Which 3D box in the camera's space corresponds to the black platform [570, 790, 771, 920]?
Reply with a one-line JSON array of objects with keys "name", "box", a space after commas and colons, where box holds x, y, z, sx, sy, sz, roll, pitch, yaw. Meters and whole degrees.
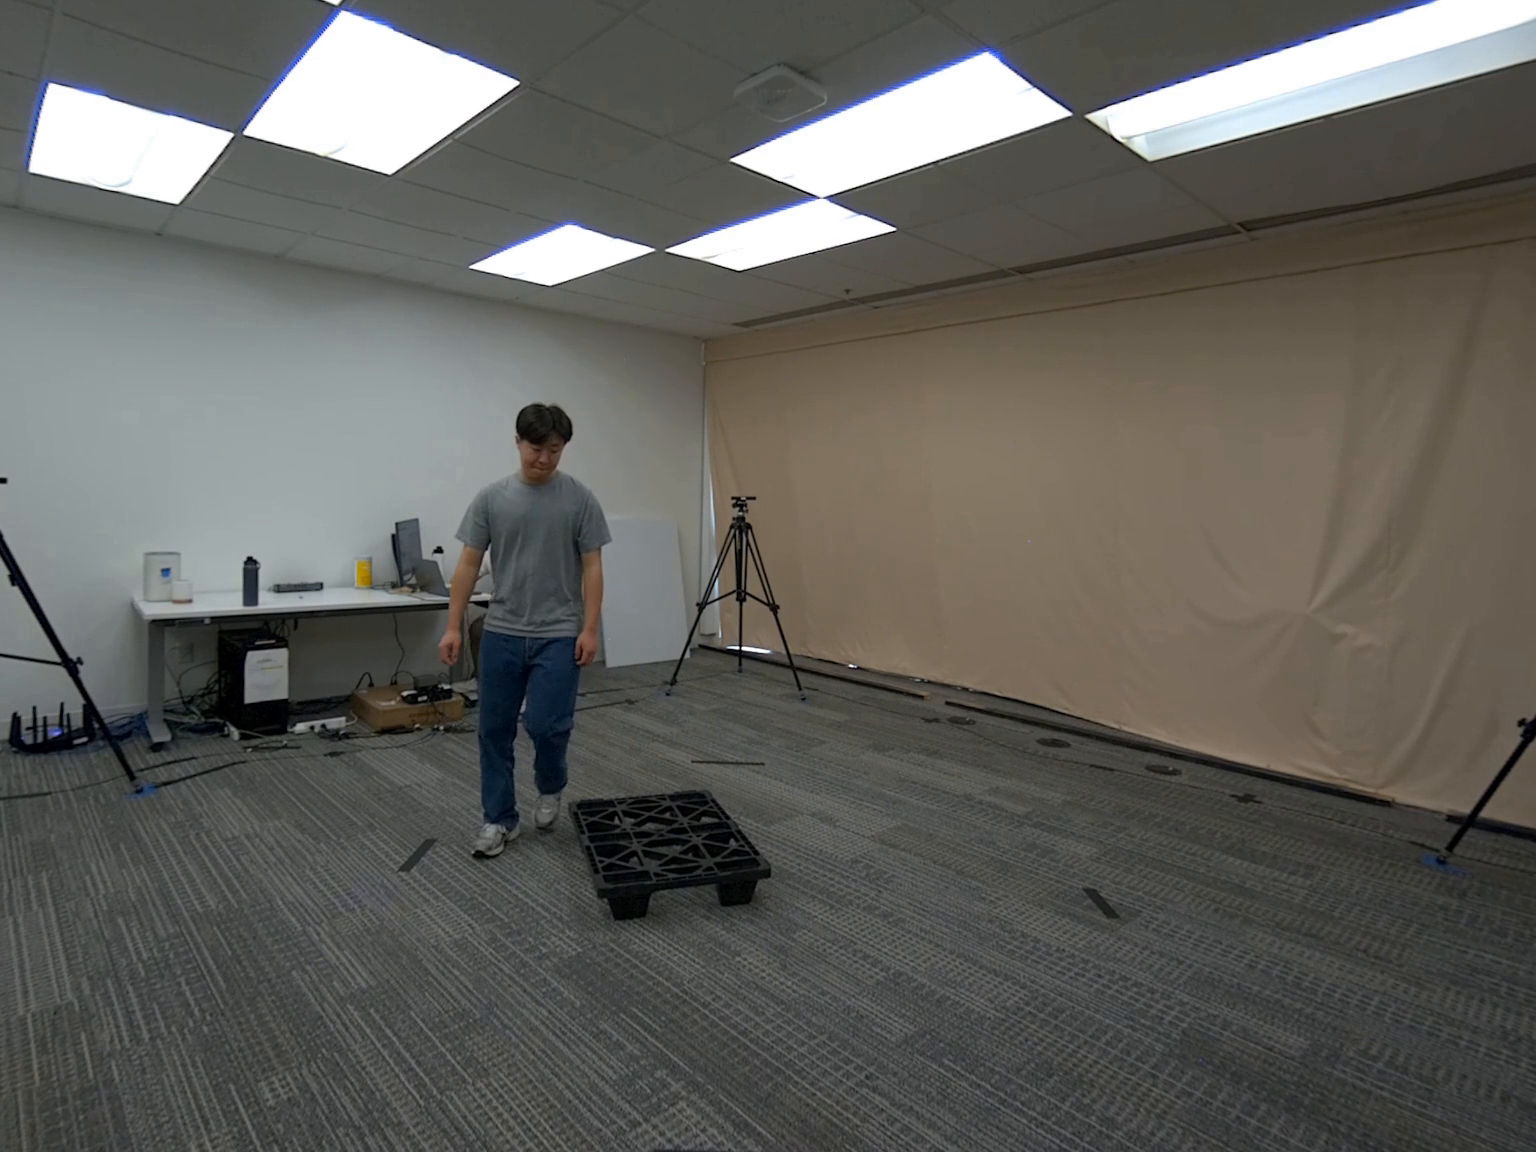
[{"name": "black platform", "box": [-0.407, 1.025, 3.167, 0.596, 0.143, 0.820, 0, 6, -20]}]
